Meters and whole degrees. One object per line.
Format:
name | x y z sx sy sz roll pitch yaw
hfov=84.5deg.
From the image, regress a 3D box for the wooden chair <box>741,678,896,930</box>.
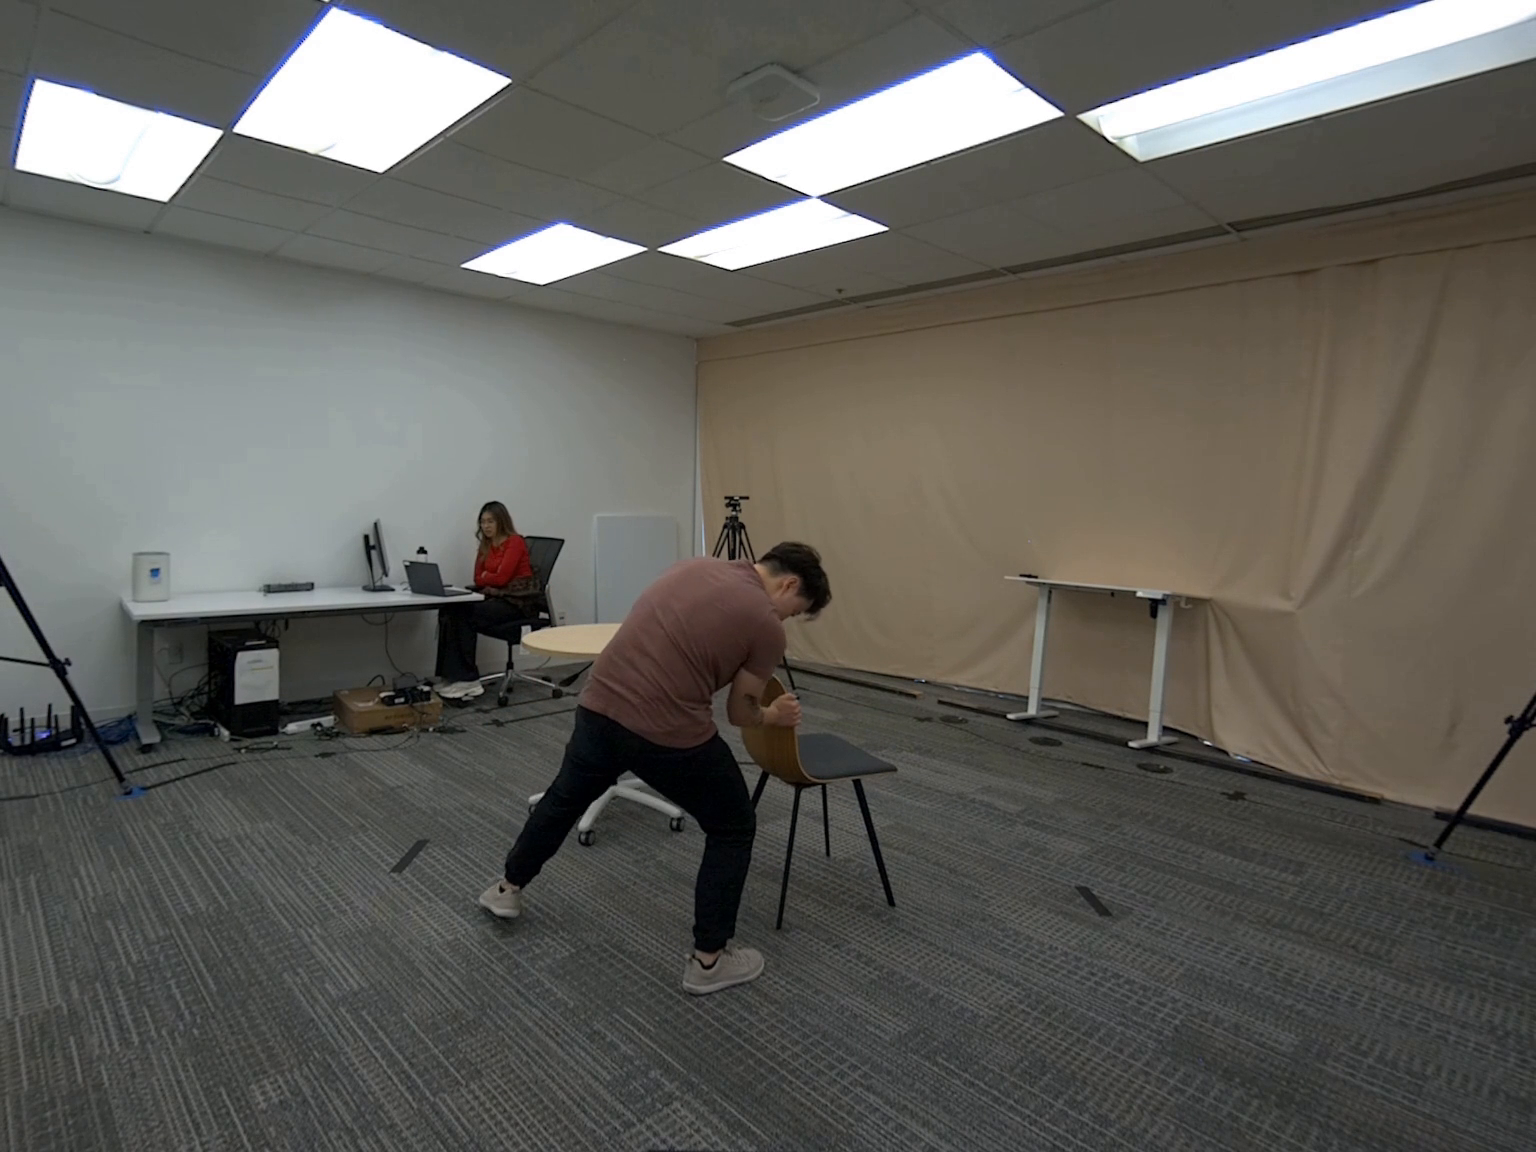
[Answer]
wooden chair | 0.148 0.694 2.981 0.514 0.874 0.488 -5 5 -25
